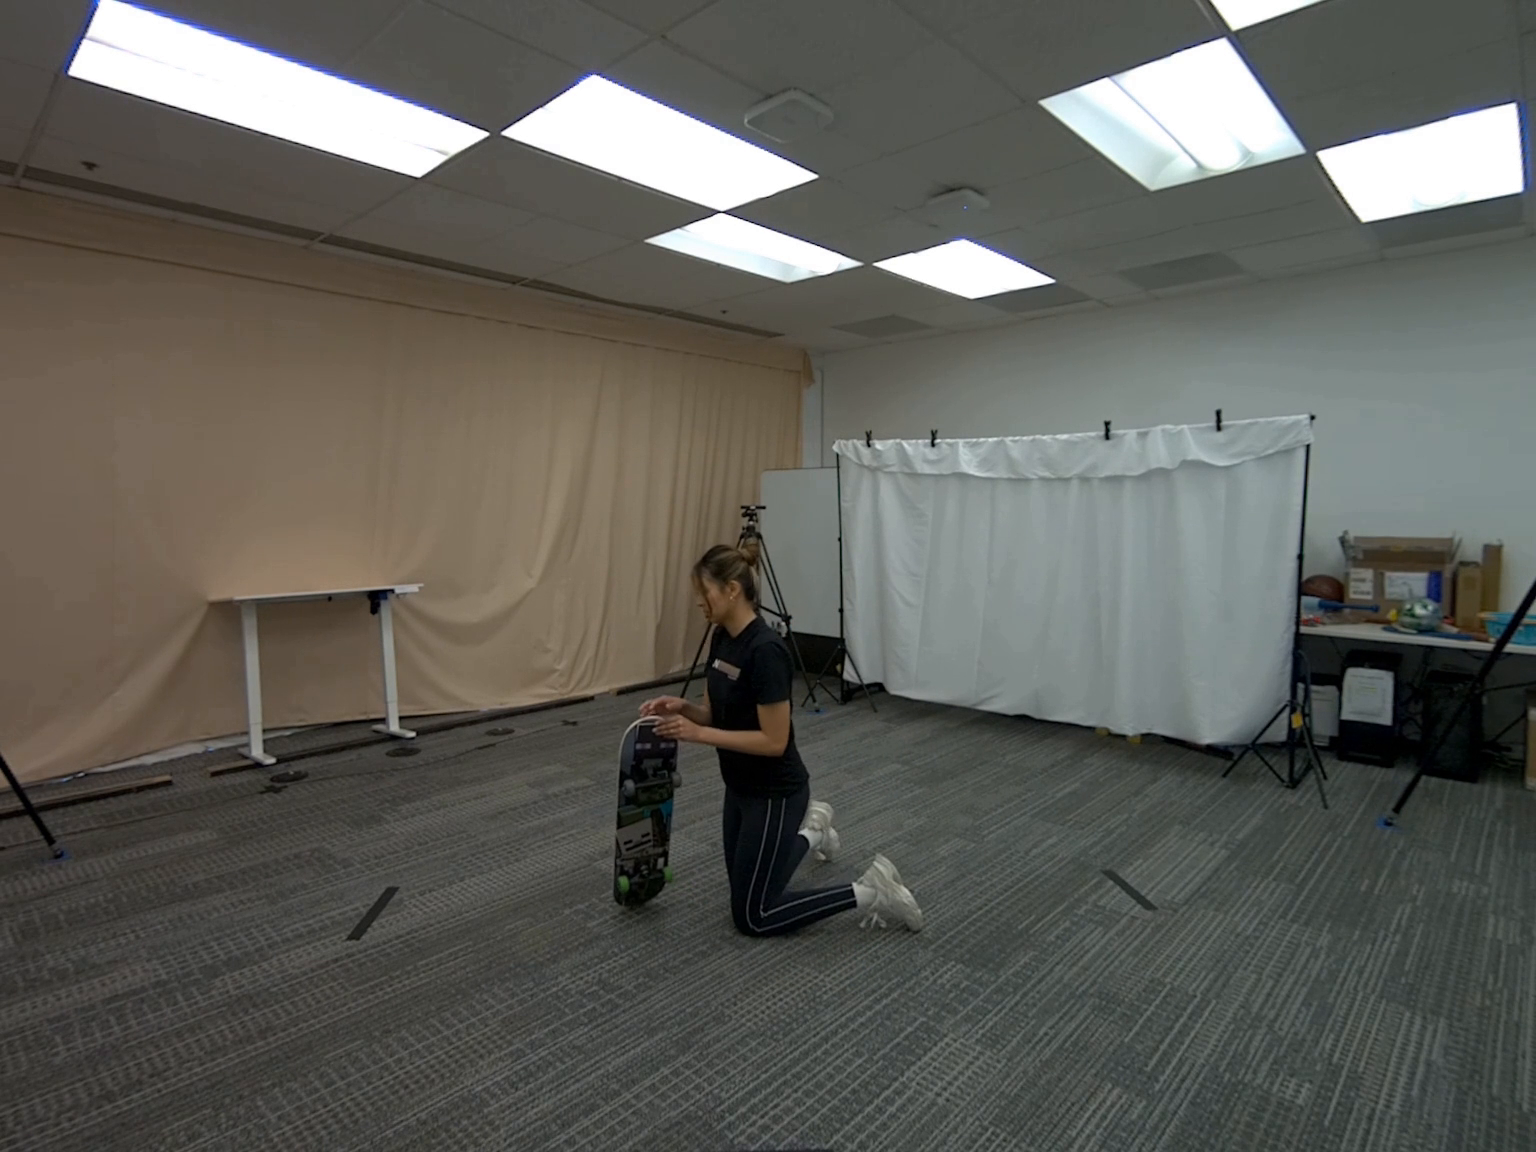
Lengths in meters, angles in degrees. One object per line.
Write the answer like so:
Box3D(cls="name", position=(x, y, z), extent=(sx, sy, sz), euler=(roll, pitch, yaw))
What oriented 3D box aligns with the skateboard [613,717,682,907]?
Box3D(cls="skateboard", position=(-0.394, 0.821, 2.749), extent=(0.189, 0.777, 0.114), euler=(-2, 25, -21))
